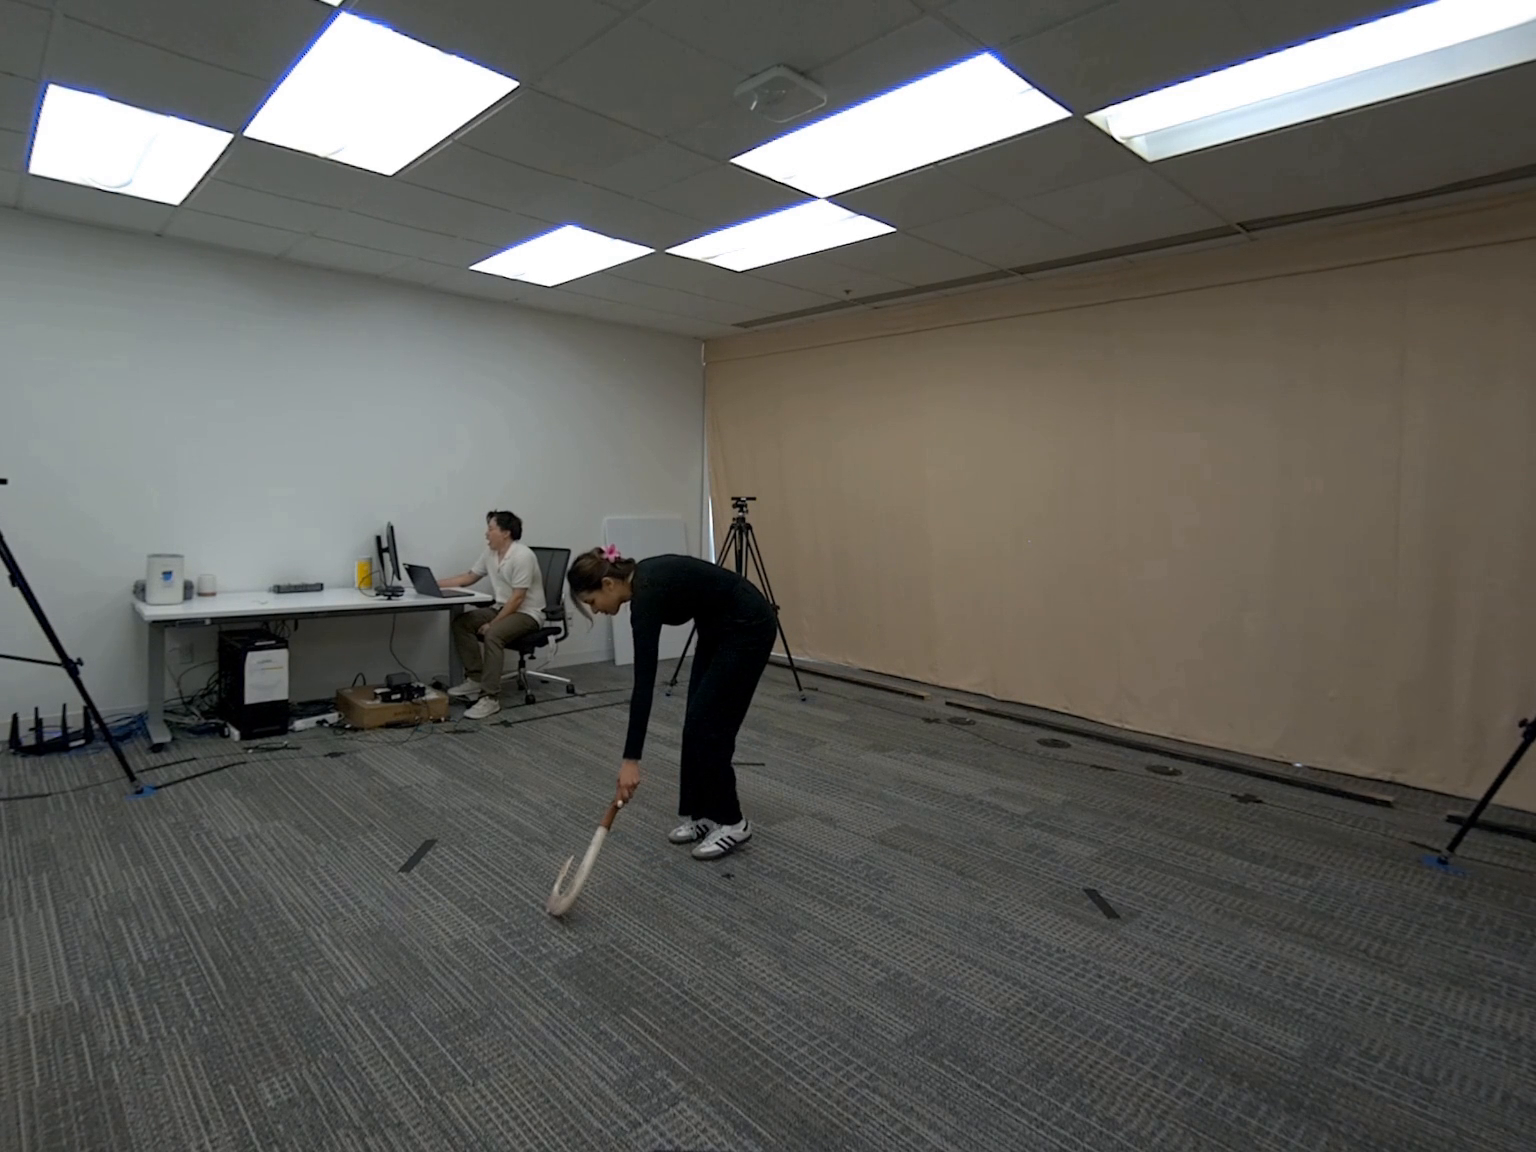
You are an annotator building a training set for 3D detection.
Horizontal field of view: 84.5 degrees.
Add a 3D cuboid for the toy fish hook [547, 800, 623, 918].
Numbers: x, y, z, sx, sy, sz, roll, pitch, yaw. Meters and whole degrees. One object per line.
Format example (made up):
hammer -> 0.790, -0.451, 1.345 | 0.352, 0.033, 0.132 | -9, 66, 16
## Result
toy fish hook -> -0.617, 0.918, 2.884 | 0.047, 0.509, 0.228 | 41, -30, -20
